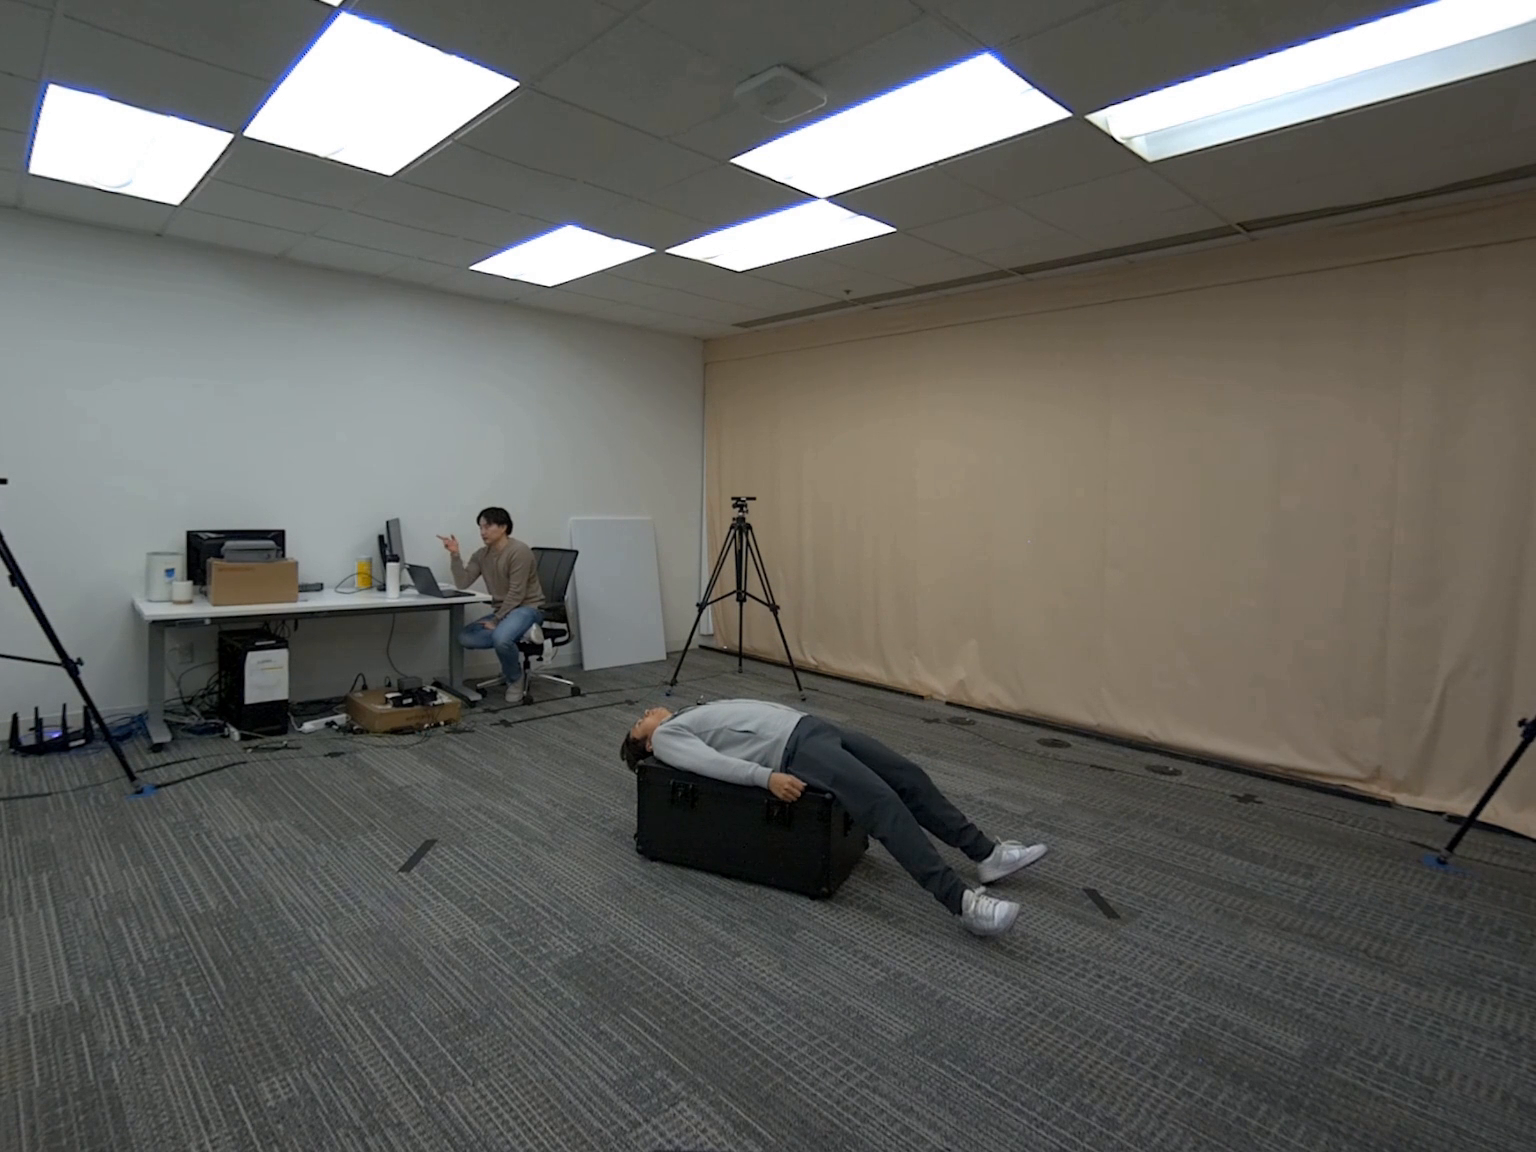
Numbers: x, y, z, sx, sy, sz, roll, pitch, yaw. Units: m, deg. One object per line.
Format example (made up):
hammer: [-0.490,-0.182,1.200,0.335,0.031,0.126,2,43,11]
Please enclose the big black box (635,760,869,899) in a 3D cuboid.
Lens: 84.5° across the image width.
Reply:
big black box: [-0.031,0.913,3.250,0.878,0.395,0.512,3,5,26]
